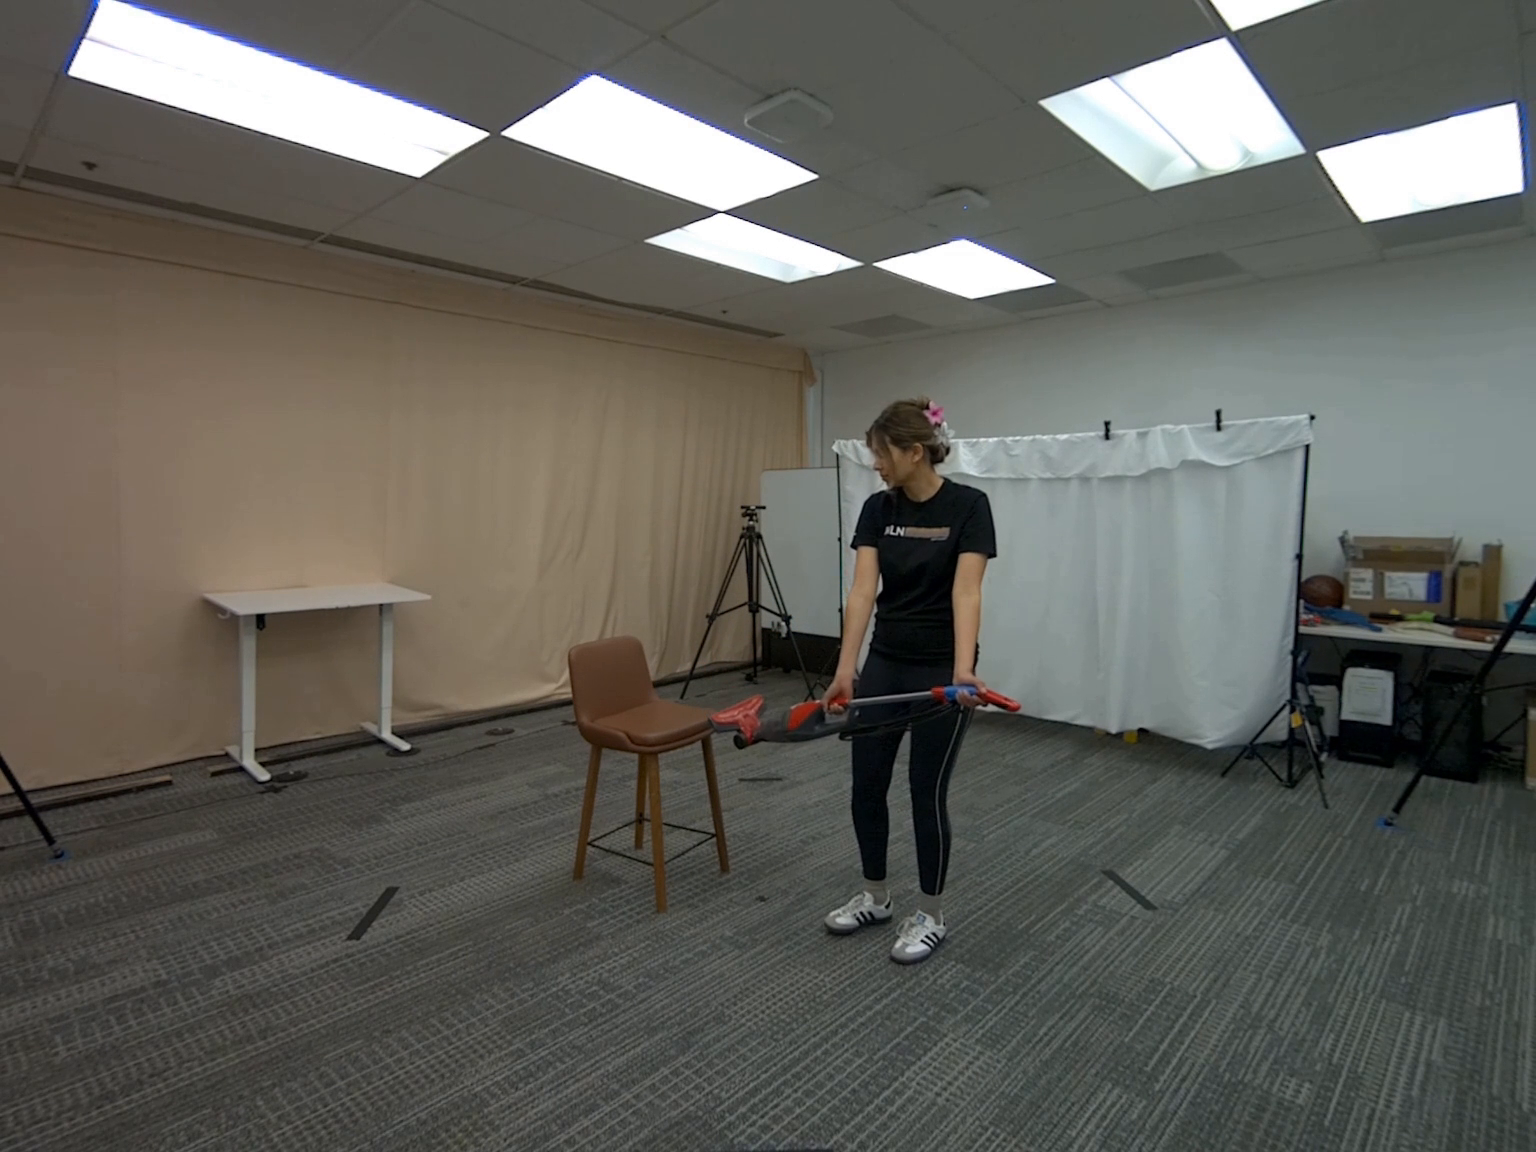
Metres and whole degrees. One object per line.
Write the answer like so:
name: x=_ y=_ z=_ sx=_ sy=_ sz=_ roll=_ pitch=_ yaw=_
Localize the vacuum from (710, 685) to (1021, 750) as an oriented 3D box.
vacuum: x=0.265 y=0.436 z=2.501 sx=0.246 sy=0.144 sz=1.076 roll=-16 pitch=1 yaw=-42
